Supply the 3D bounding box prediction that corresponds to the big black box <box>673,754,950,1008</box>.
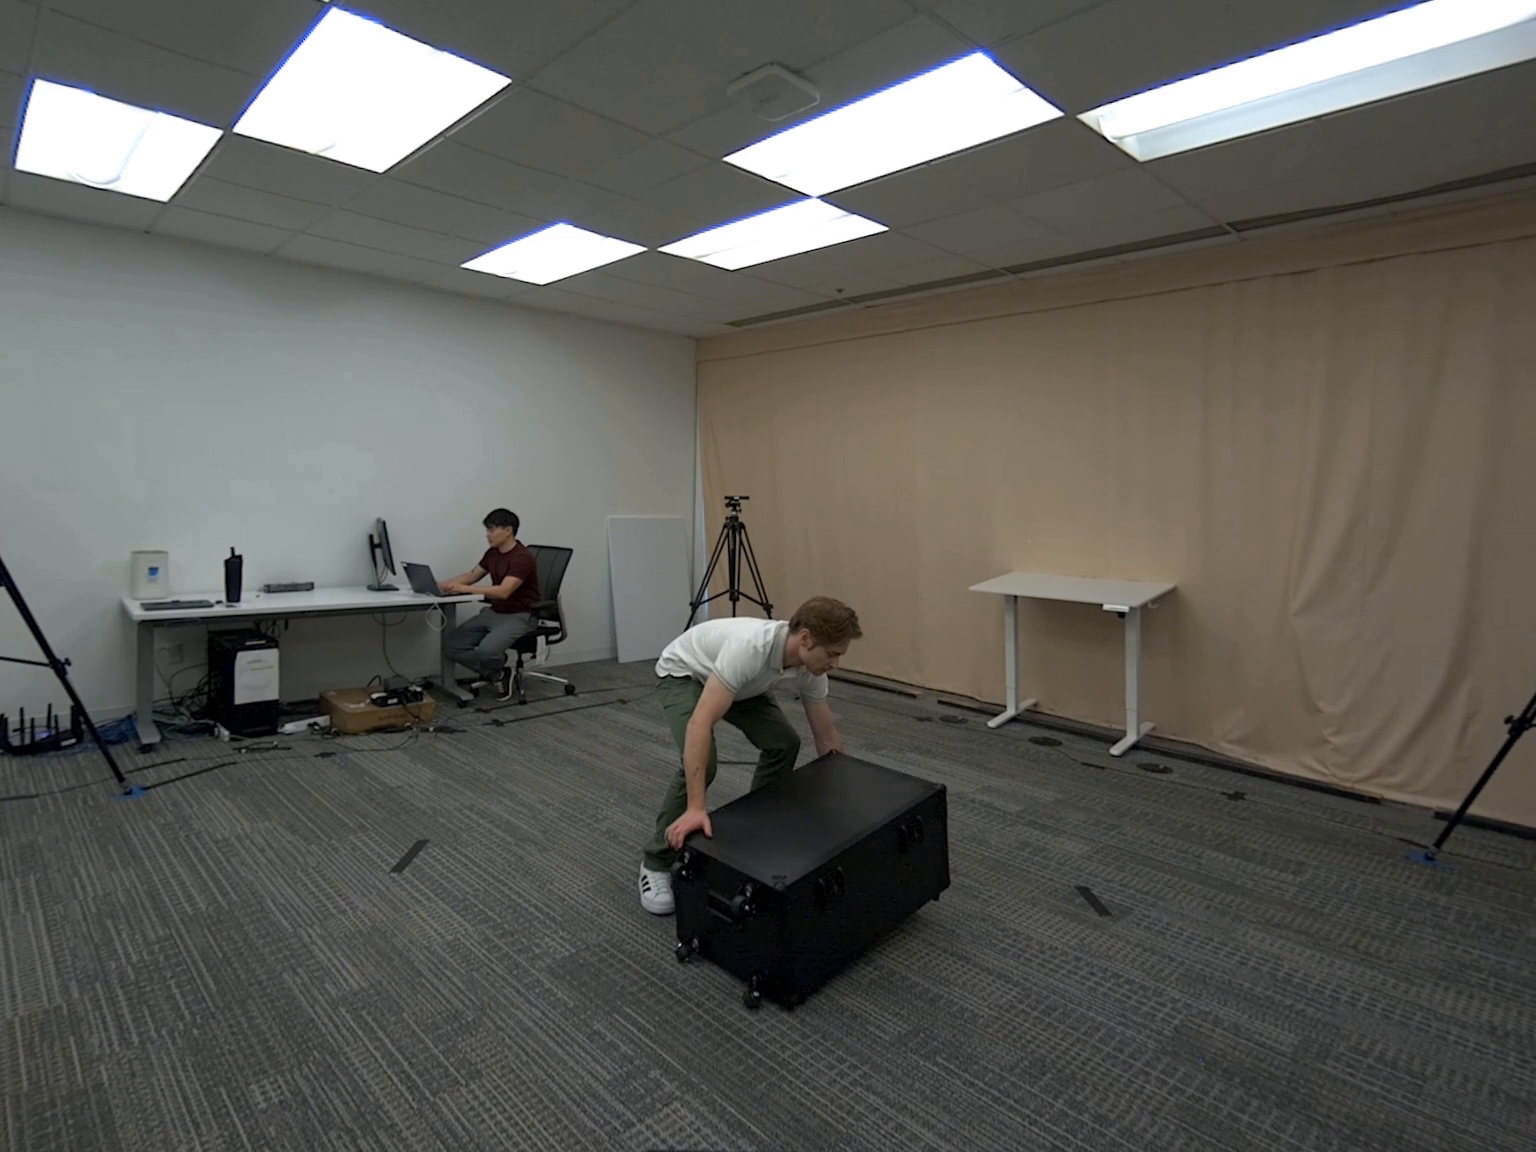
[{"bbox_3d":[0.116,0.922,2.651,0.853,0.382,0.537,-15,16,-42],"label":"big black box"}]
